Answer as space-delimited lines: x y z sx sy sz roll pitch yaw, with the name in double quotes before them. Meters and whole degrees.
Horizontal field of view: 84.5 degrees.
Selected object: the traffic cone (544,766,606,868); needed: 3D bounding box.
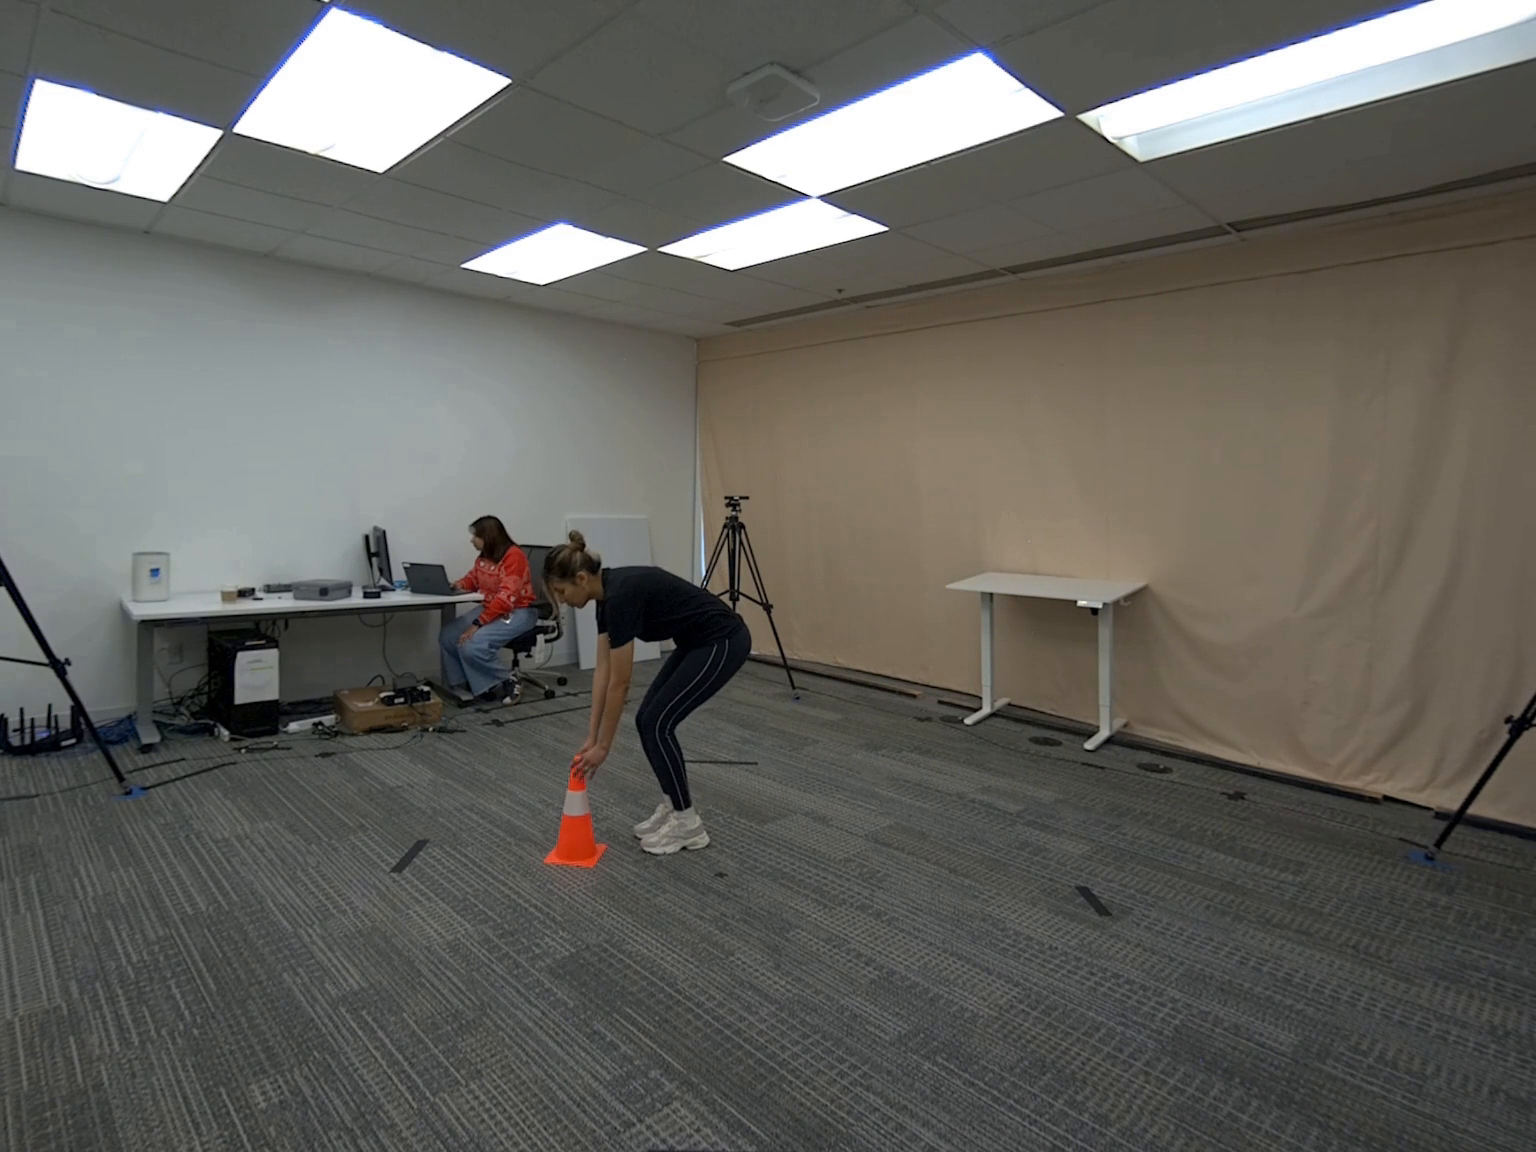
"traffic cone" -0.743 0.889 3.253 0.204 0.383 0.204 4 2 6
